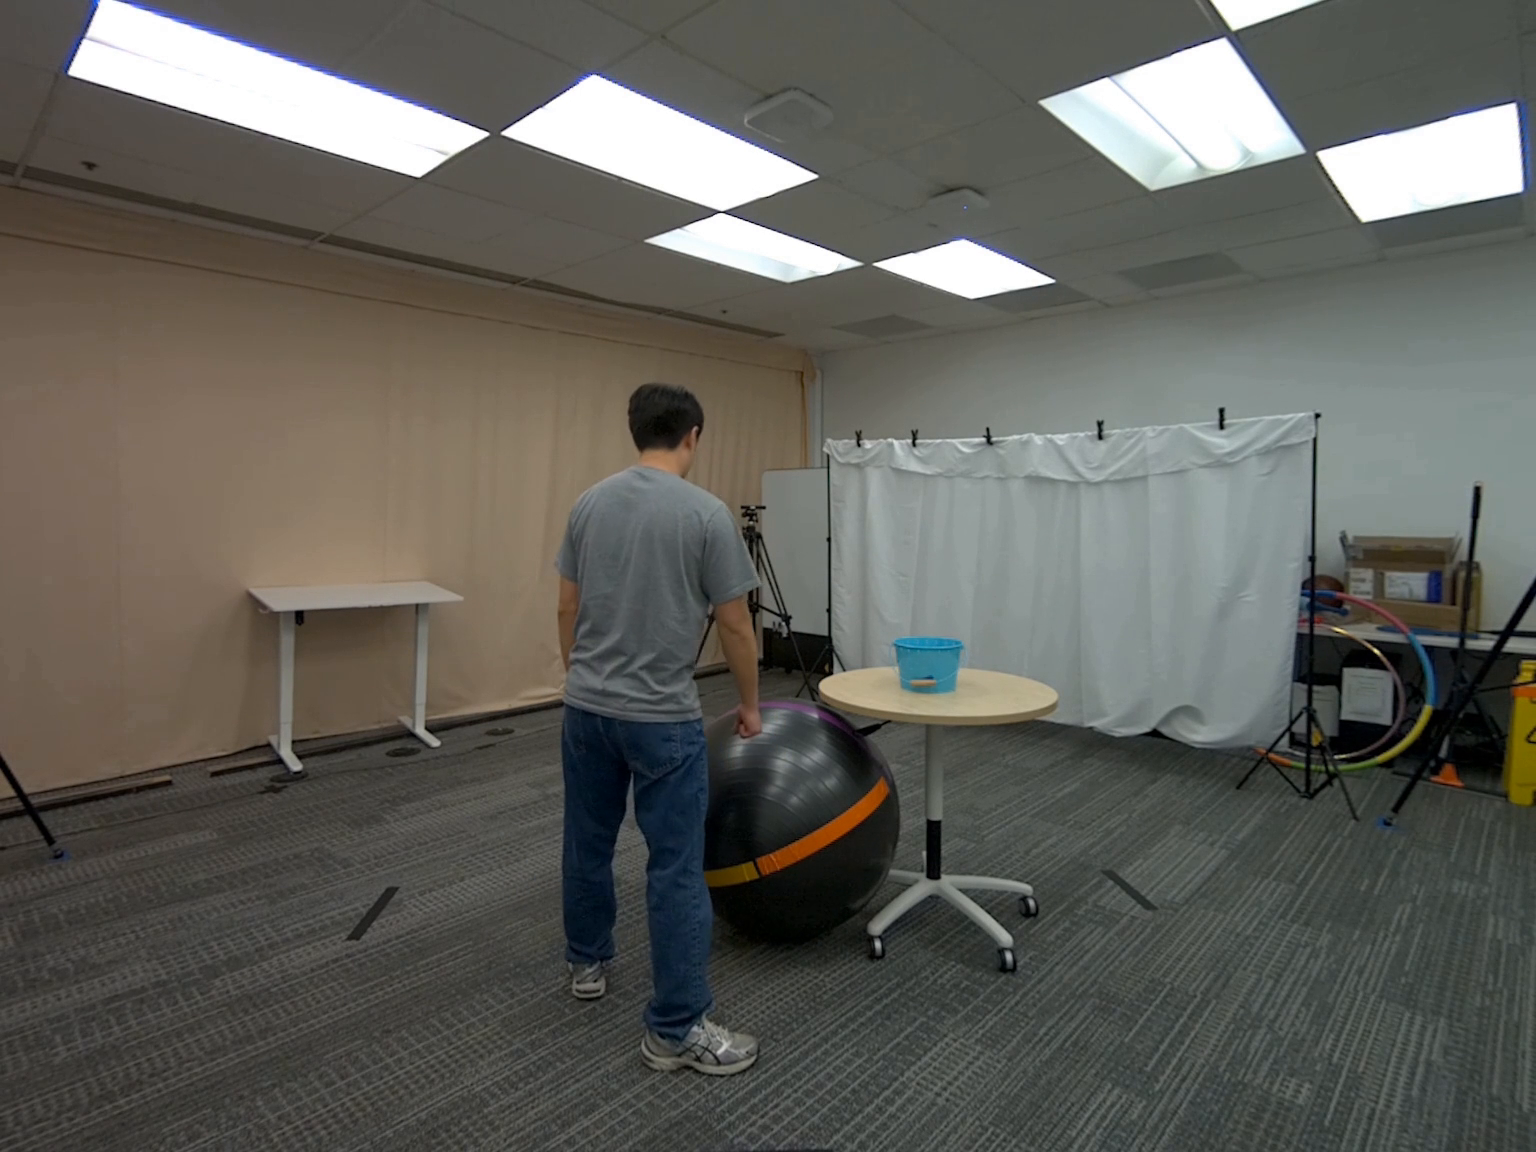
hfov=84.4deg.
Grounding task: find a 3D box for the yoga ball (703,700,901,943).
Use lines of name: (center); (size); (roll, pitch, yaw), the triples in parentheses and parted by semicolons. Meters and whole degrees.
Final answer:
yoga ball: (0.052, 0.791, 2.784); (0.757, 0.756, 0.760); (0, 4, -2)
